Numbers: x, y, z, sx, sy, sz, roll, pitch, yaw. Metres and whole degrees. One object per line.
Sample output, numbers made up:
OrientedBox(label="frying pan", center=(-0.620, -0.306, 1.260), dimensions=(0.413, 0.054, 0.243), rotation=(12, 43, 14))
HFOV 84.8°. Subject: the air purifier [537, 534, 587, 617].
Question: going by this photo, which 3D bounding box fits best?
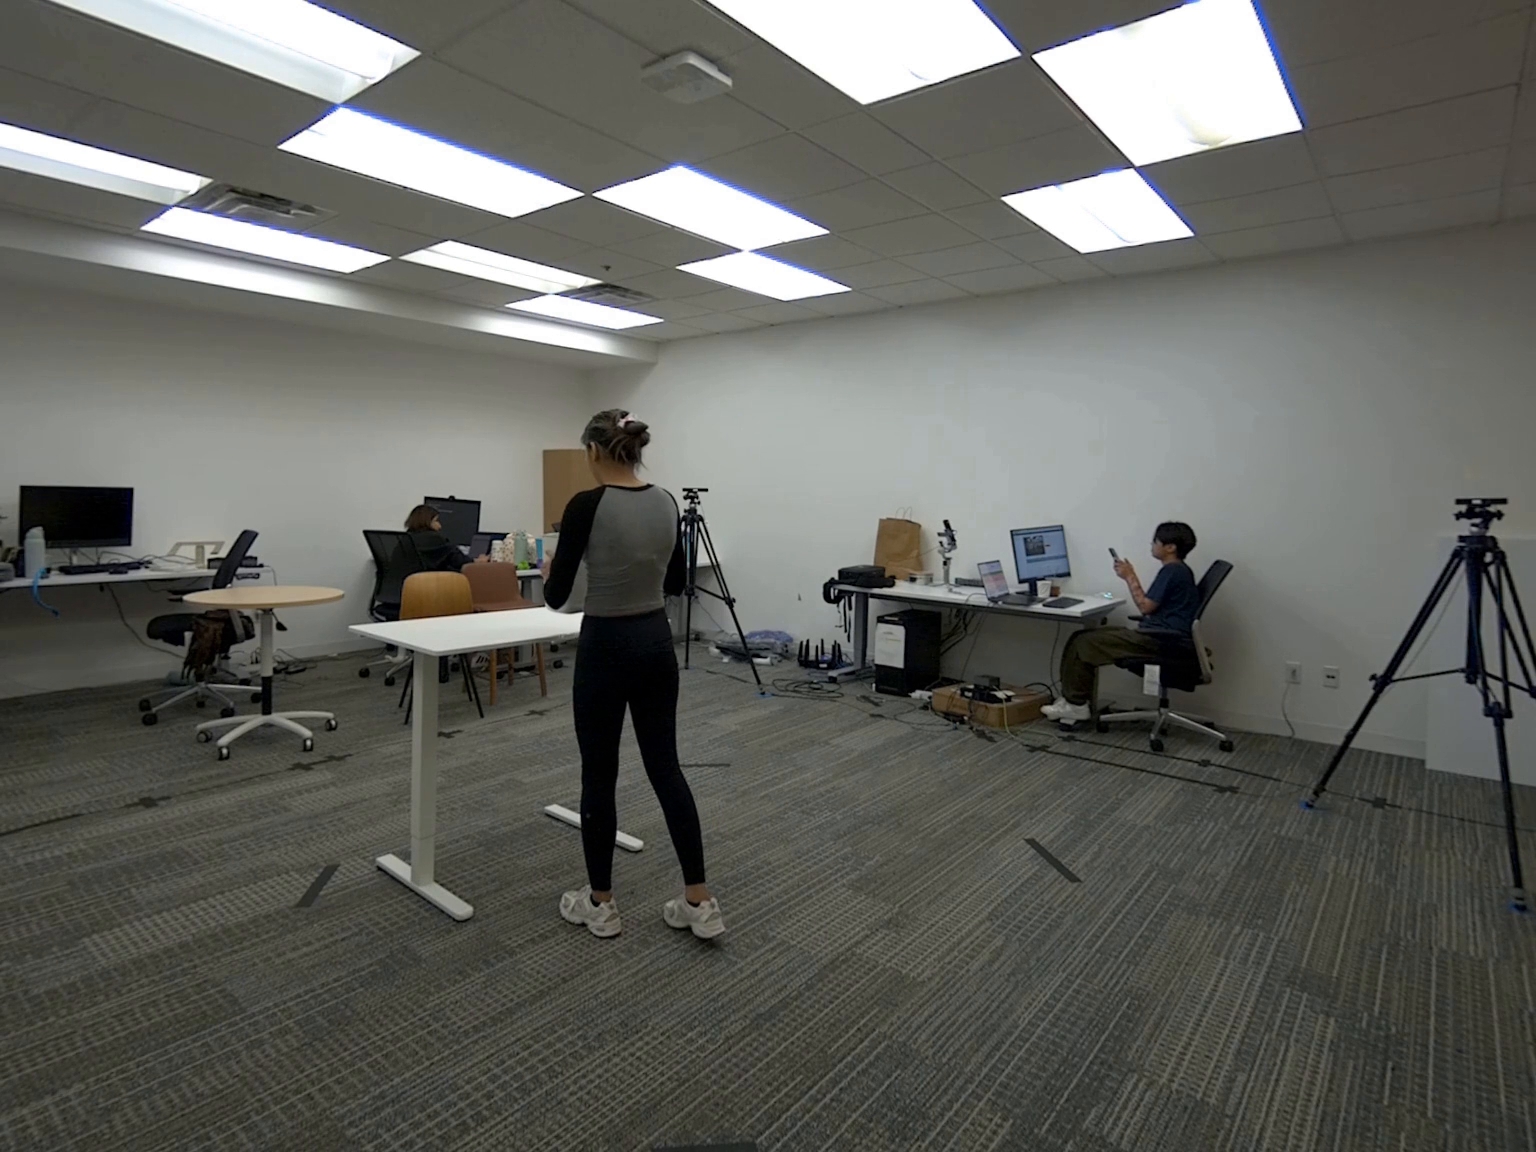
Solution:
OrientedBox(label="air purifier", center=(-0.670, -0.012, 2.899), dimensions=(0.177, 0.264, 0.167), rotation=(2, 6, 45))
